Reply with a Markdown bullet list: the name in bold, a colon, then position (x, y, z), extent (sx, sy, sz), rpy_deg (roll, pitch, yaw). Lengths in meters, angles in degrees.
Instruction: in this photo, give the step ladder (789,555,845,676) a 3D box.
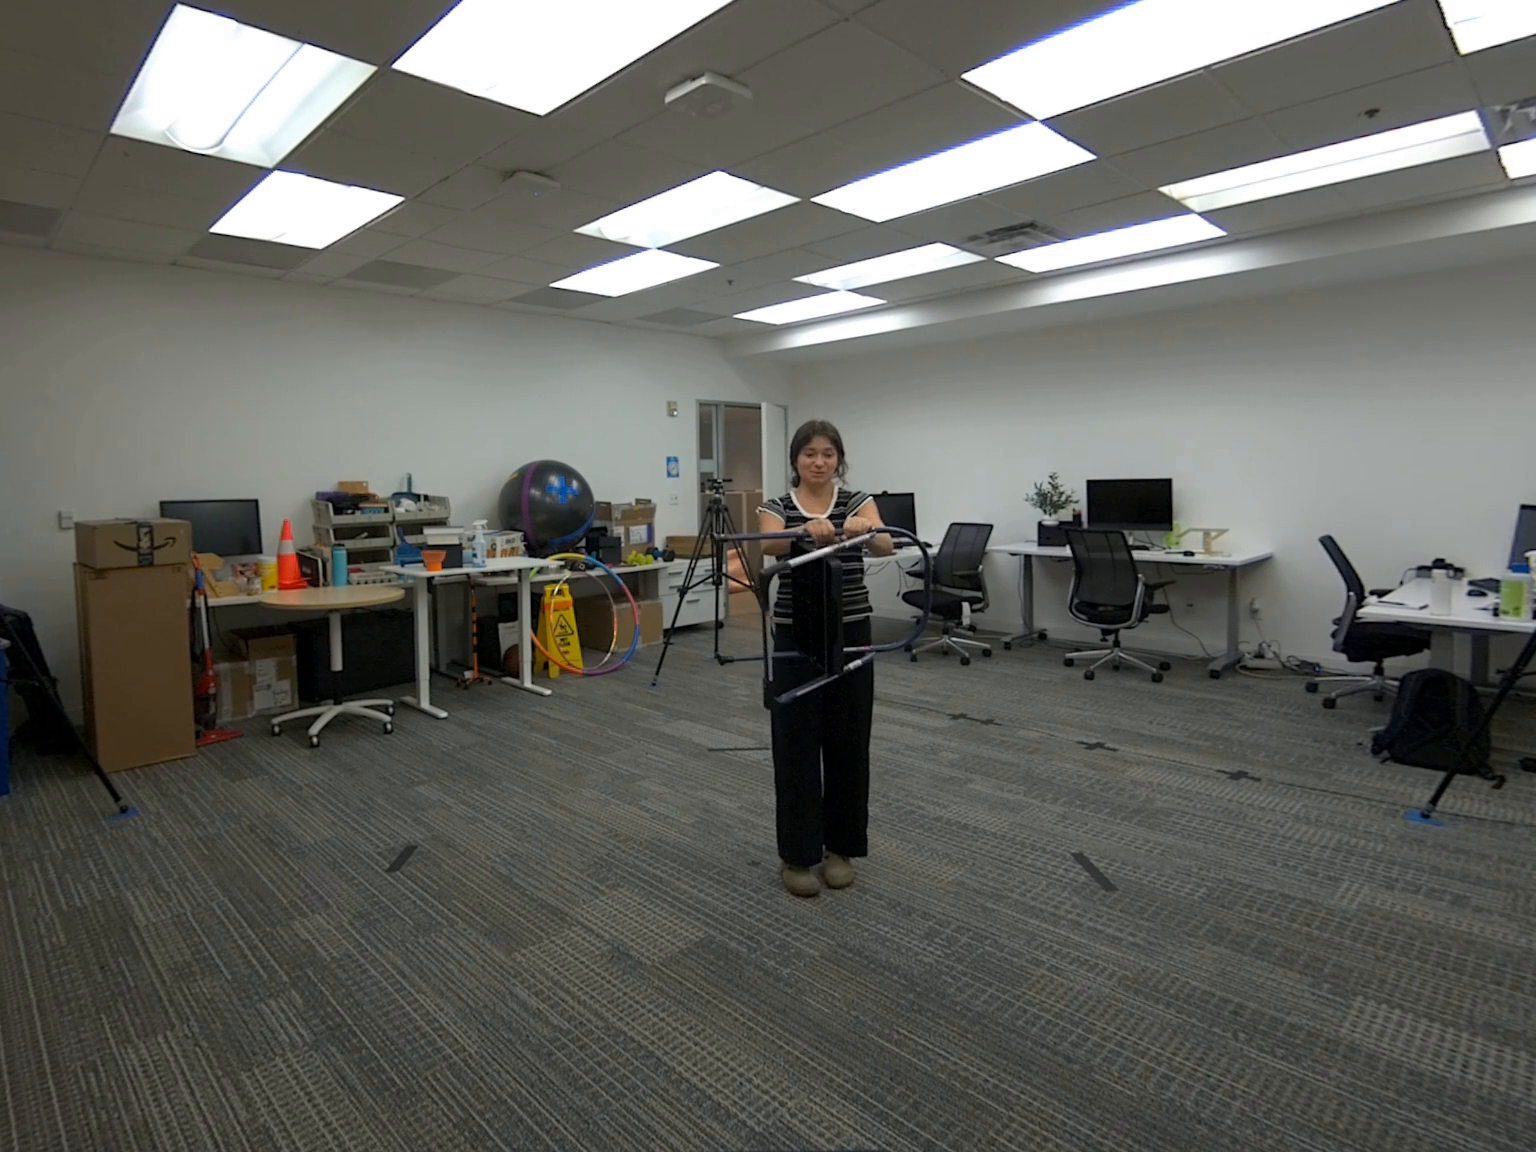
- **step ladder**: position (0.181, 0.067, 2.533), extent (0.596, 0.423, 0.361), rpy_deg (-11, 23, -22)
